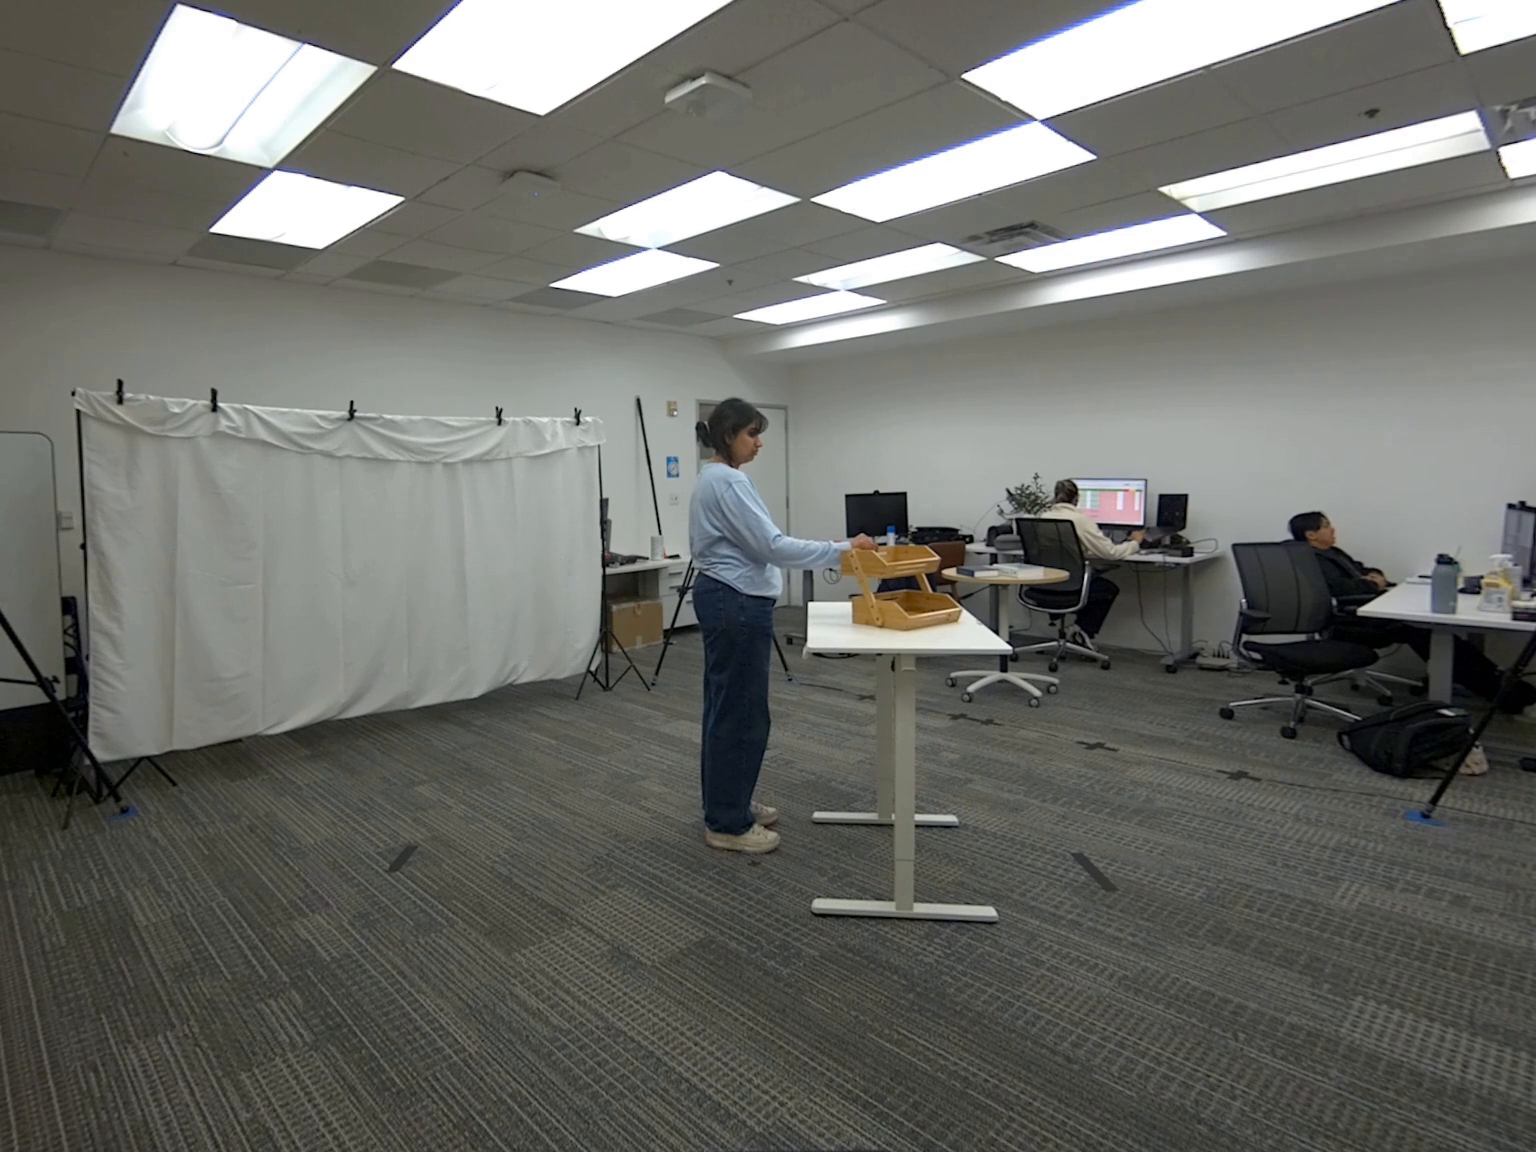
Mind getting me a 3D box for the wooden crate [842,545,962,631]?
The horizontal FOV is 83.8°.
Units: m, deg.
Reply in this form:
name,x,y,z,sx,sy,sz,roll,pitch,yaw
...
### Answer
name,x,y,z,sx,sy,sz,roll,pitch,yaw
wooden crate,0.479,0.031,3.020,0.316,0.272,0.311,-5,5,-40
